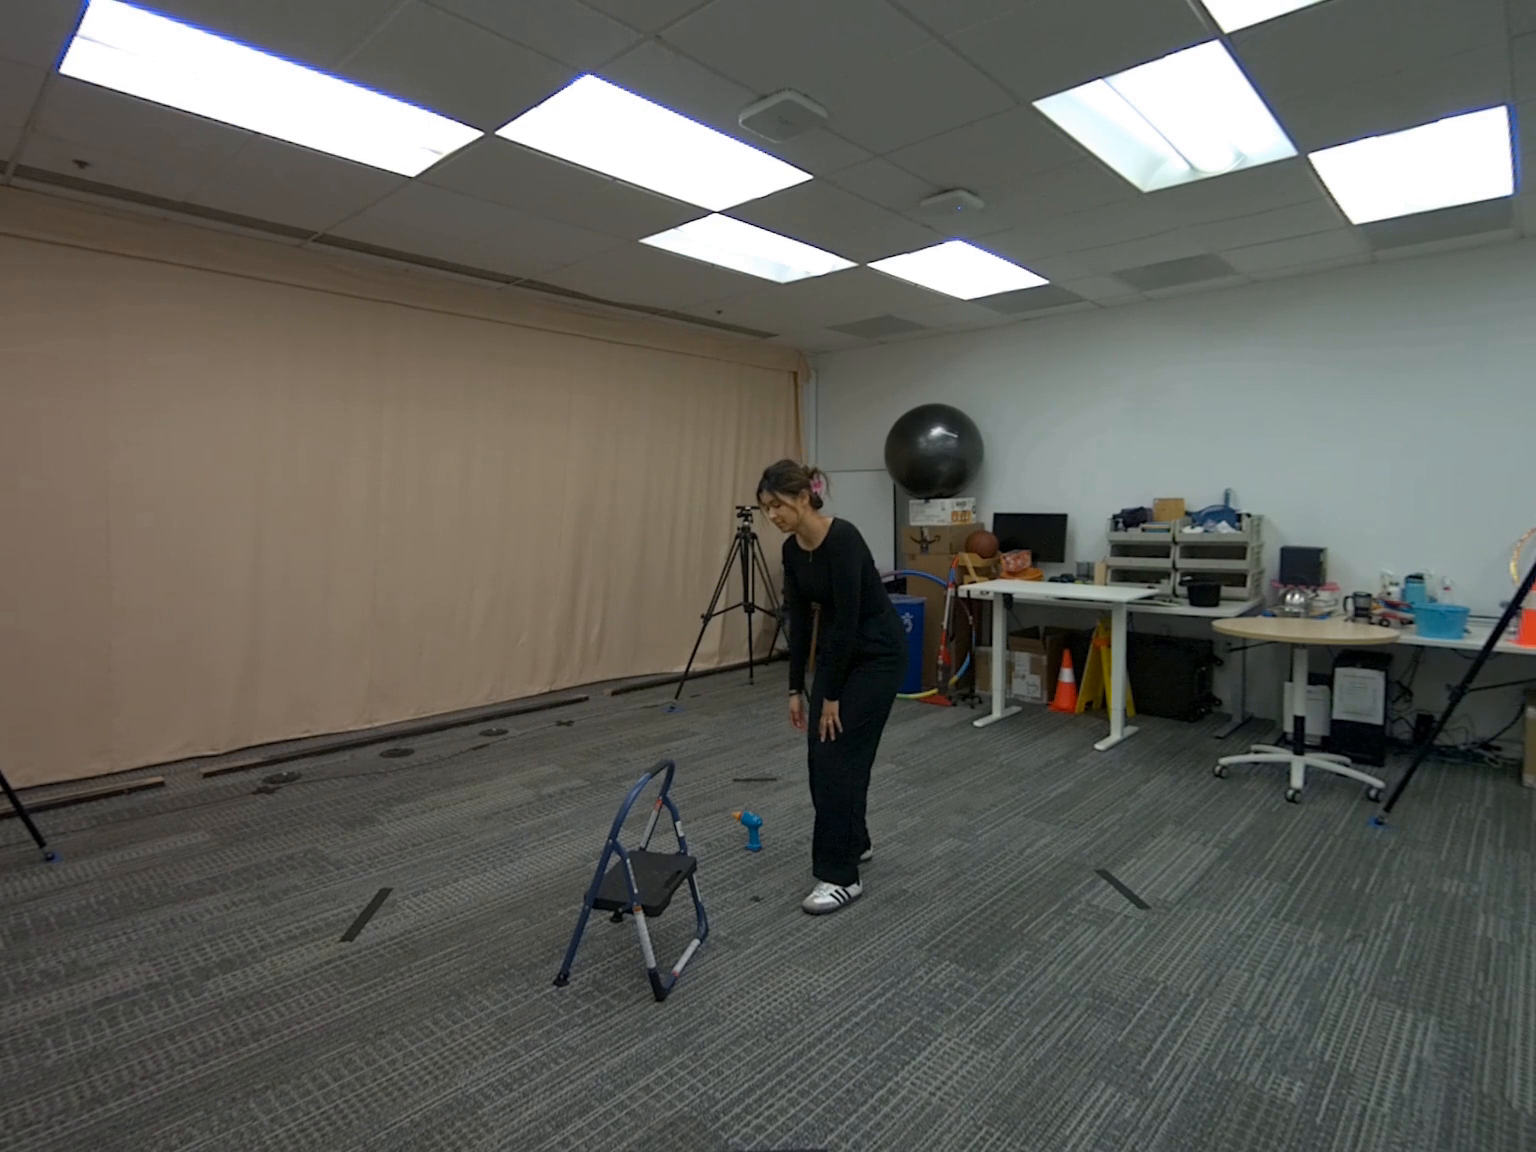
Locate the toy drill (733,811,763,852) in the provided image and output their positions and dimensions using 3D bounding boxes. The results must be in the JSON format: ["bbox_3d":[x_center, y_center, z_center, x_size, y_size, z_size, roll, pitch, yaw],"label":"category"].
[{"bbox_3d":[-0.087,1.032,3.441,0.175,0.146,0.059,1,4,44],"label":"toy drill"}]
